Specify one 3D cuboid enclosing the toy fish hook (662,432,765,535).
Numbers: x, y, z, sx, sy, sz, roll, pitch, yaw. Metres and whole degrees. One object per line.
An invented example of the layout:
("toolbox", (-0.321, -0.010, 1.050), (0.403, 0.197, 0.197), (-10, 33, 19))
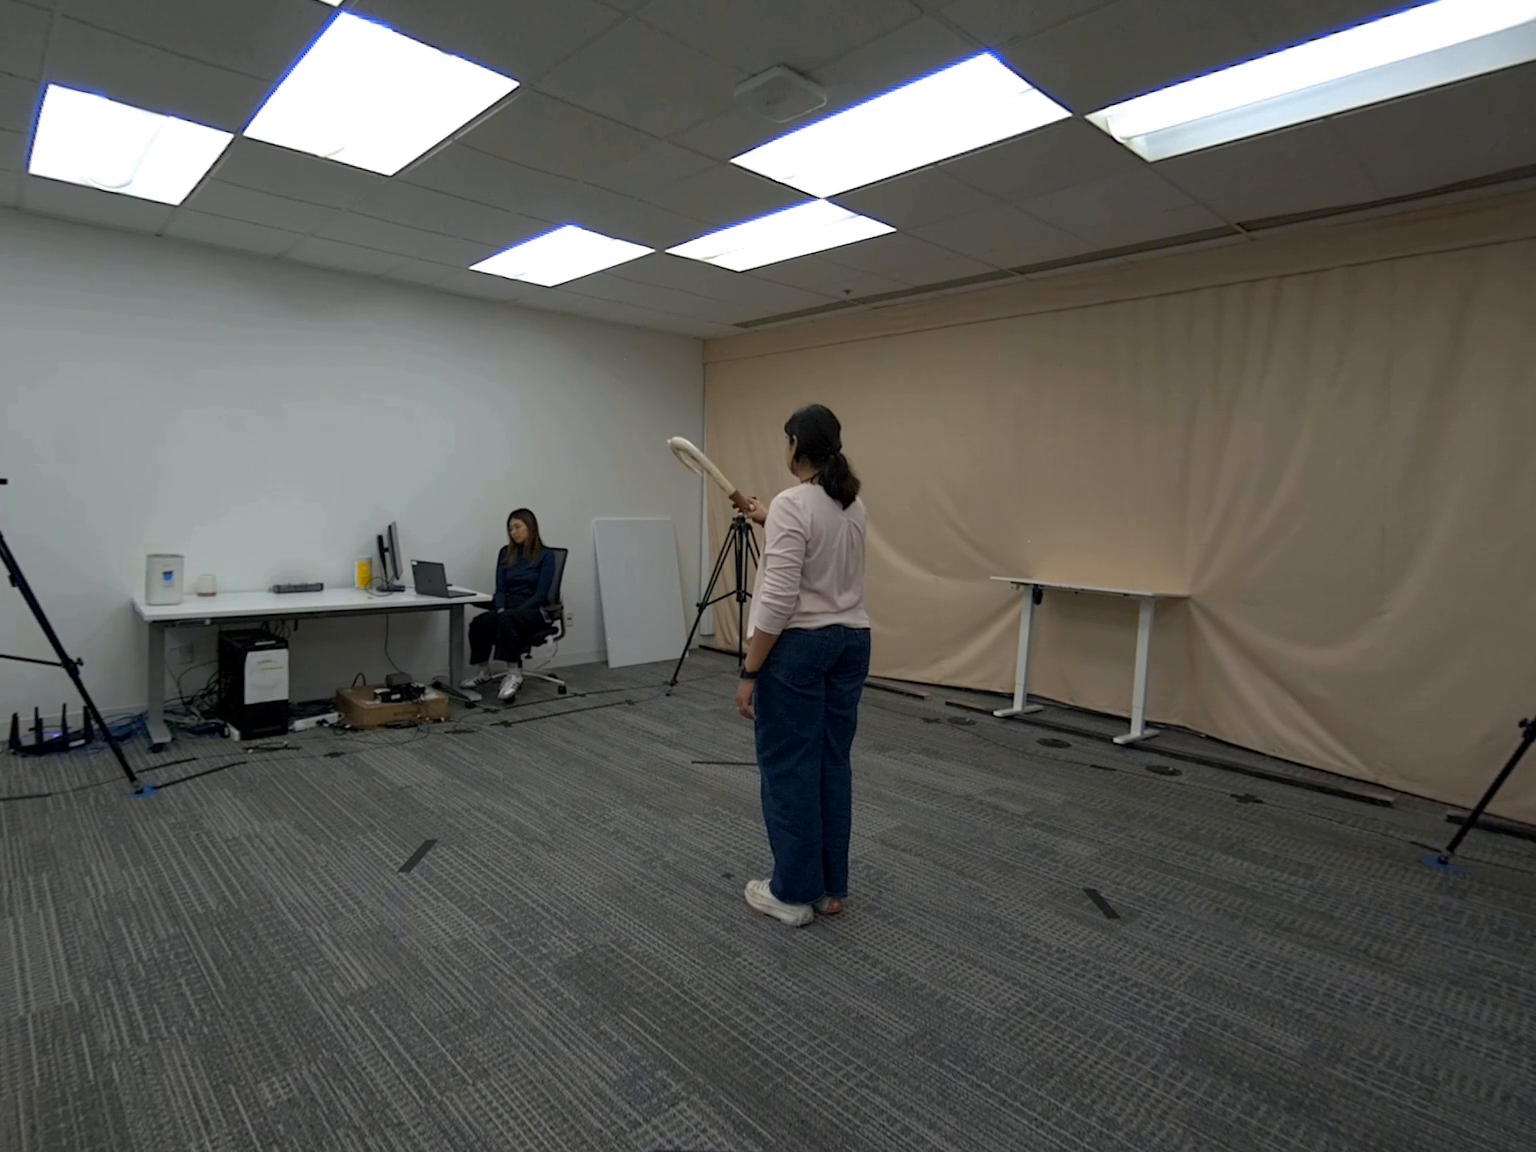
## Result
("toy fish hook", (-0.186, -0.350, 3.254), (0.499, 0.048, 0.228), (44, -10, -14))
